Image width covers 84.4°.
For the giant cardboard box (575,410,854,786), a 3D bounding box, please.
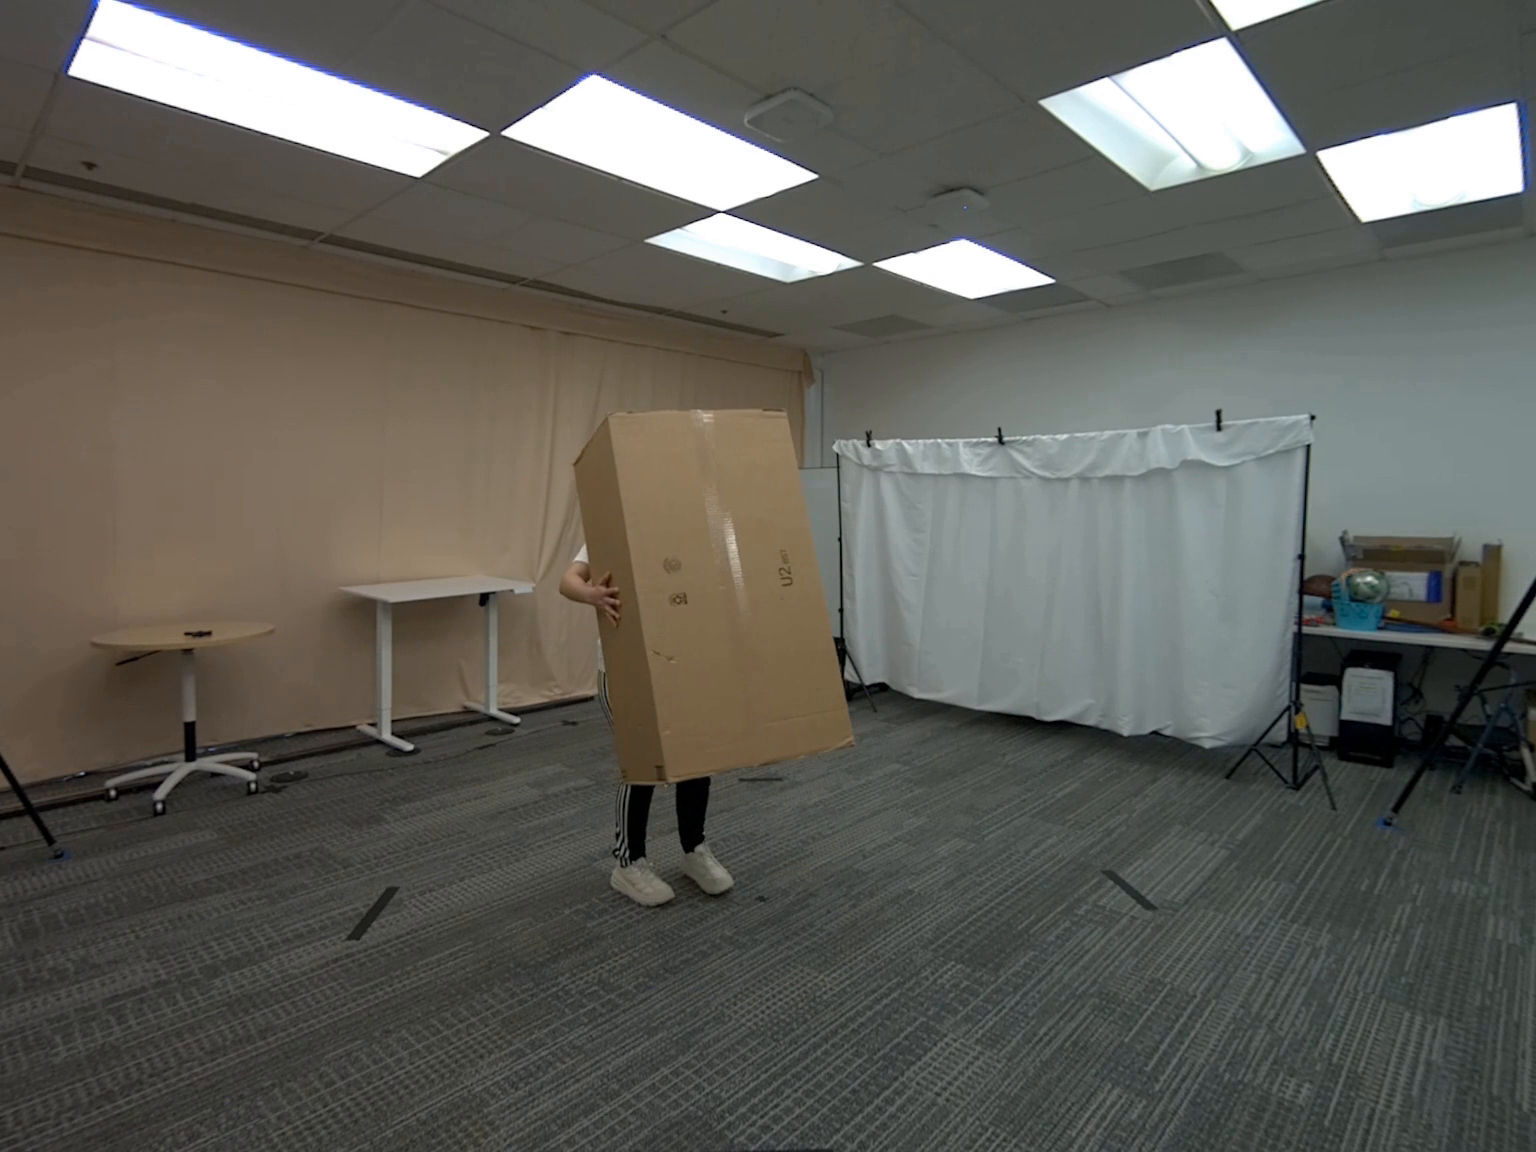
[{"bbox_3d":[-0.178,0.062,2.549,0.570,1.036,0.454,-5,-11,-27],"label":"giant cardboard box"}]
